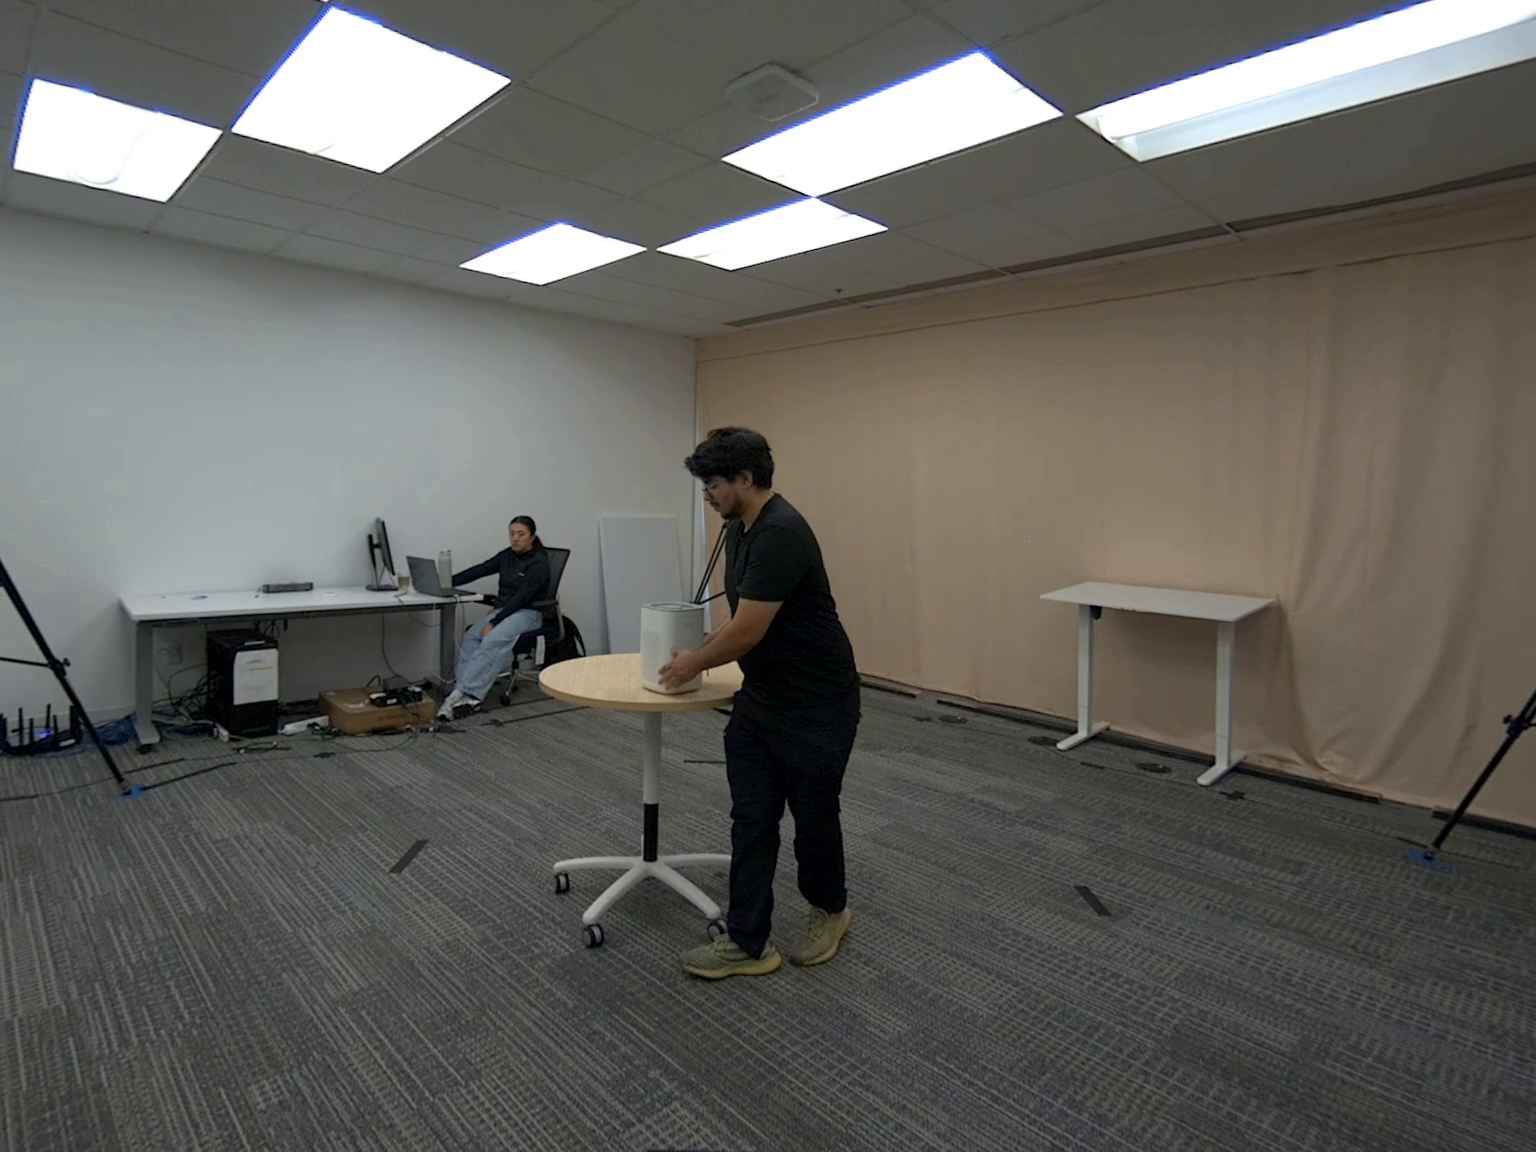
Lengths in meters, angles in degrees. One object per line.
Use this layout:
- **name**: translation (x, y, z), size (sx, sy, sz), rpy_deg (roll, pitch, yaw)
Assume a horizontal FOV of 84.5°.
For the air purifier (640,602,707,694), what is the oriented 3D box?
- **air purifier**: translation (-0.302, 0.223, 2.653), size (0.167, 0.265, 0.176), rpy_deg (-1, 5, -43)
